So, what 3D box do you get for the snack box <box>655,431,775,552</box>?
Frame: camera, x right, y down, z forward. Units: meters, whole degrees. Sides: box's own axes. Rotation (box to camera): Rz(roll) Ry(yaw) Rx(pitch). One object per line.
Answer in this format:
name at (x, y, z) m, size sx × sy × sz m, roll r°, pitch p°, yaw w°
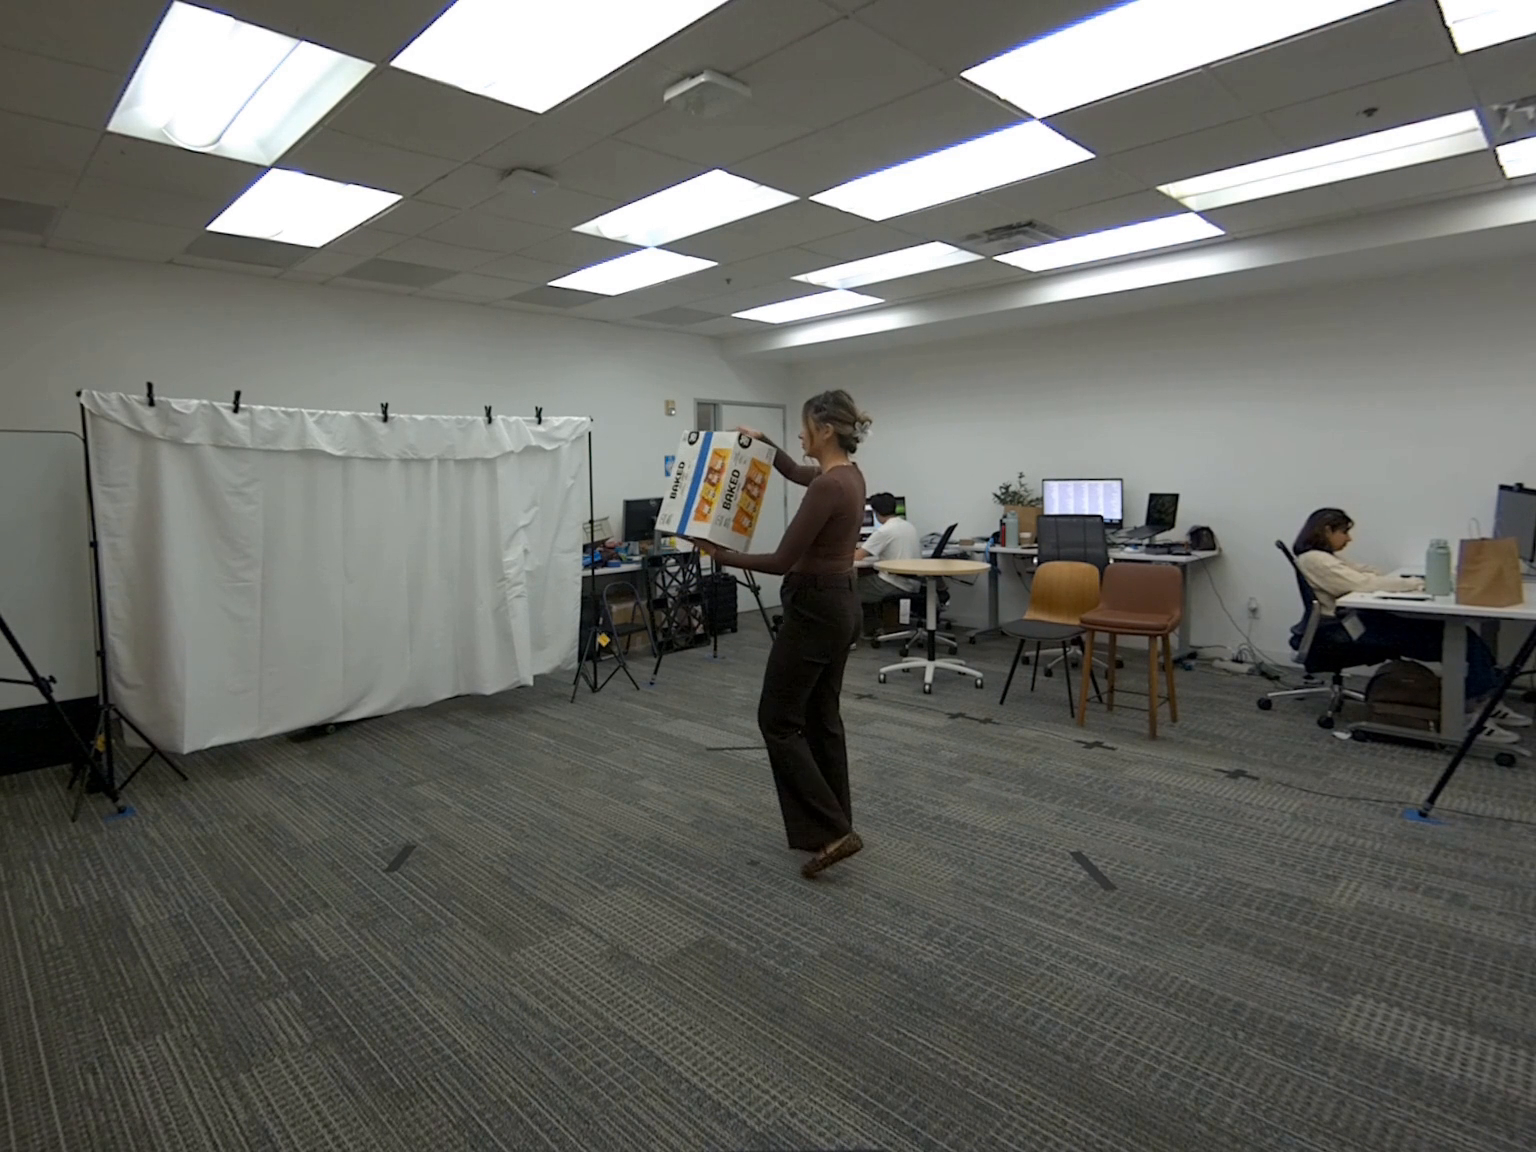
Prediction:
snack box at (-0.198, -0.323, 3.207) m, size 0.198 × 0.406 × 0.351 m, roll 20°, pitch -6°, yaw -40°
